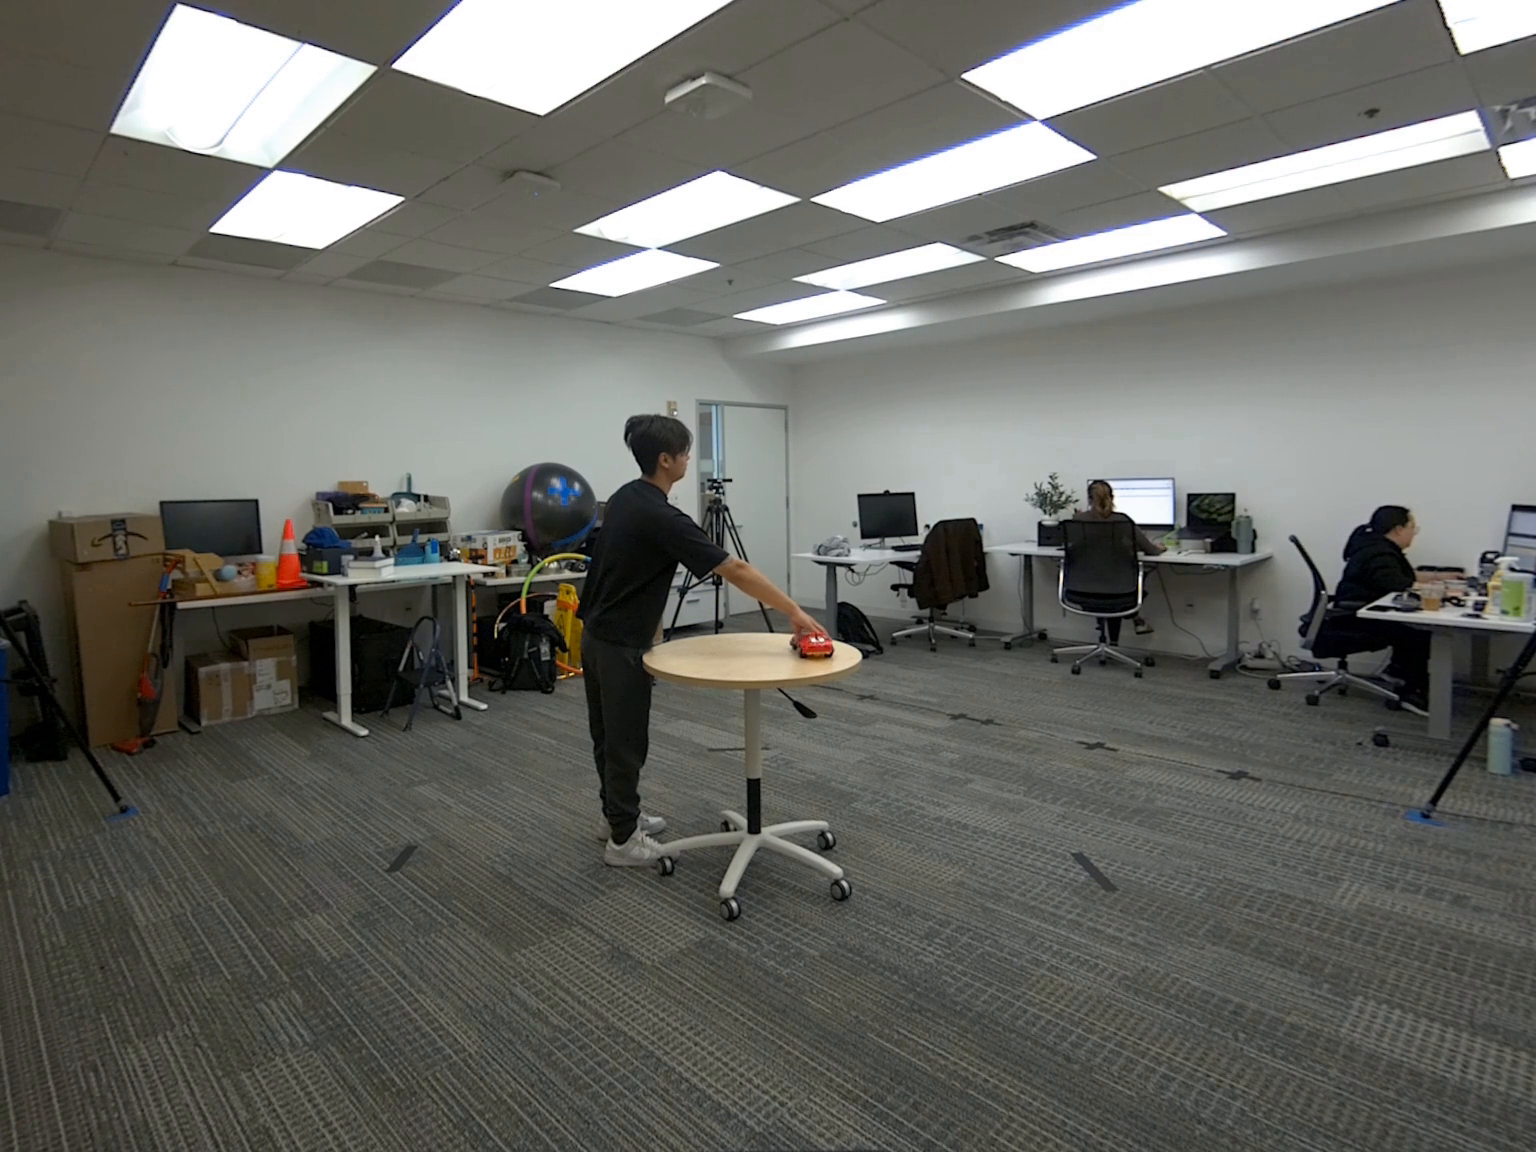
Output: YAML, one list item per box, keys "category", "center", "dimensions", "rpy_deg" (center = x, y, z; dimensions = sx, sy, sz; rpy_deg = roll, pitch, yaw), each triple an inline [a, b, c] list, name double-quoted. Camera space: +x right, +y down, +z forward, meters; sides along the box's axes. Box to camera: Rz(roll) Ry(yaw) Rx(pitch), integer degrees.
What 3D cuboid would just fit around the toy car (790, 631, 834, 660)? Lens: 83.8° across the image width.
- category: "toy car"
  center: [0.154, 0.242, 2.976]
  dimensions: [0.129, 0.084, 0.255]
  rpy_deg: [-1, -5, -9]
